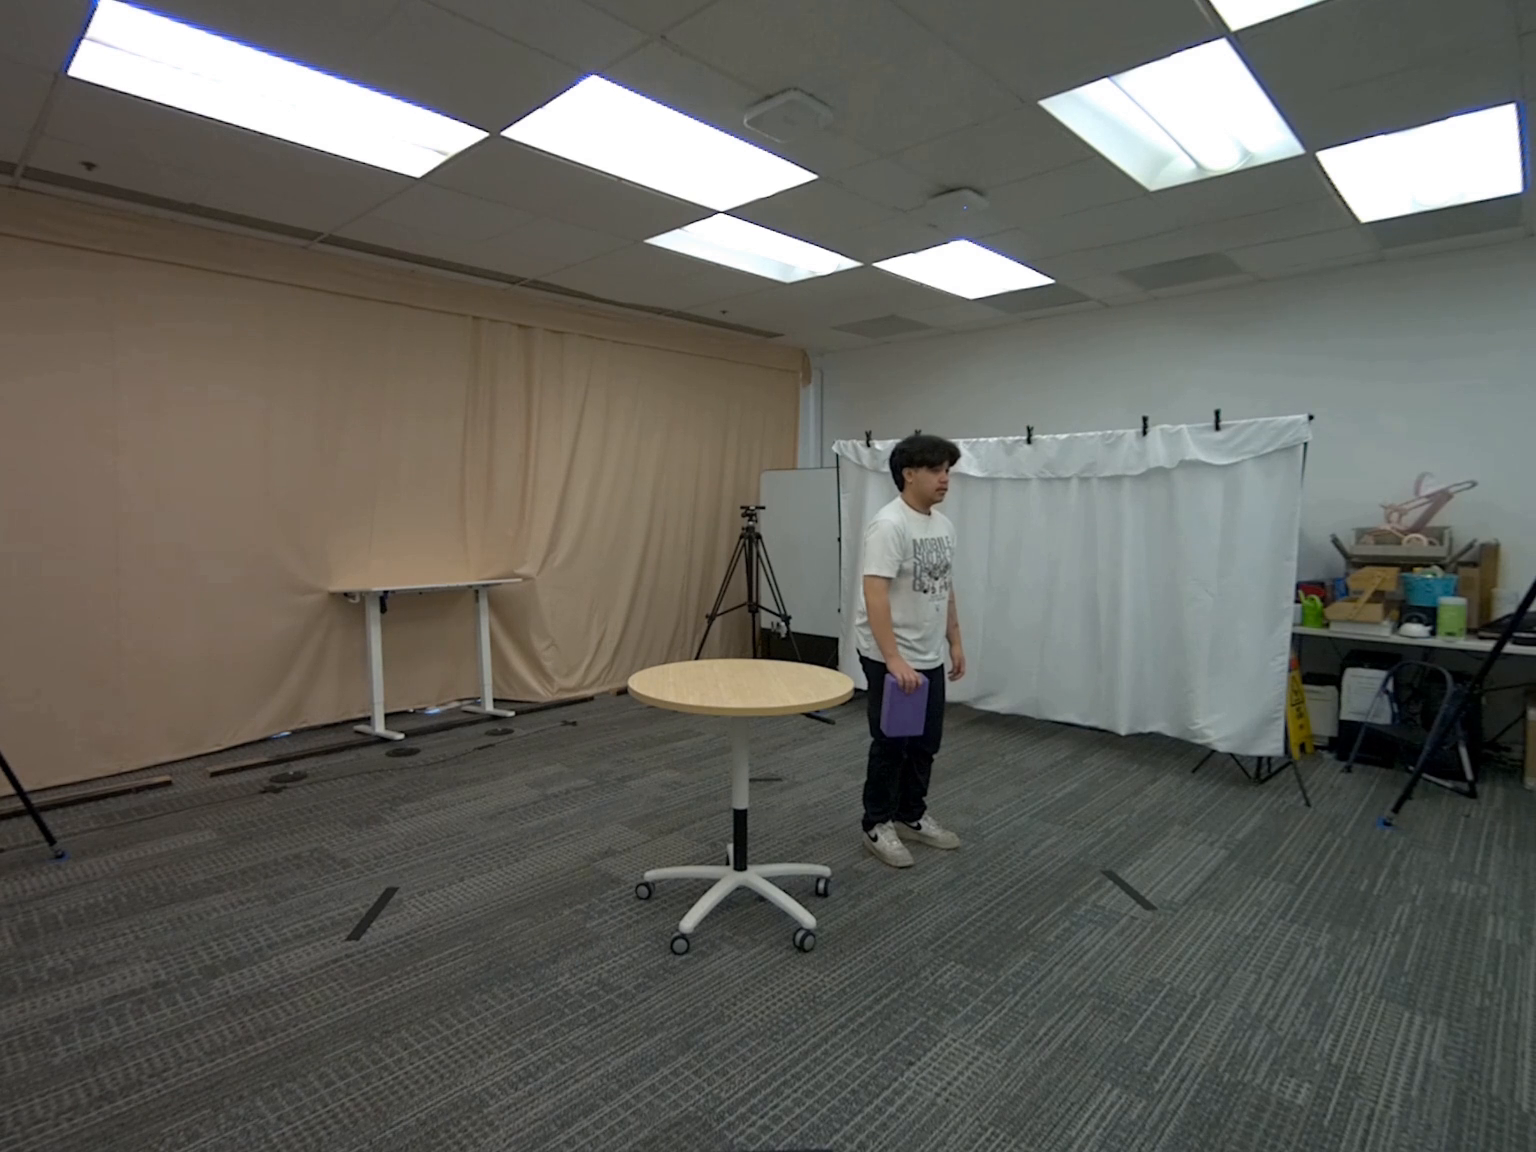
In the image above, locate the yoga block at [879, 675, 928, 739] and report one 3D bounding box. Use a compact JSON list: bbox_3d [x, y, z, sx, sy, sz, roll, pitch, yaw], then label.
[{"bbox_3d":[0.507,0.483,3.157,0.148,0.228,0.077,2,10,-7],"label":"yoga block"}]
